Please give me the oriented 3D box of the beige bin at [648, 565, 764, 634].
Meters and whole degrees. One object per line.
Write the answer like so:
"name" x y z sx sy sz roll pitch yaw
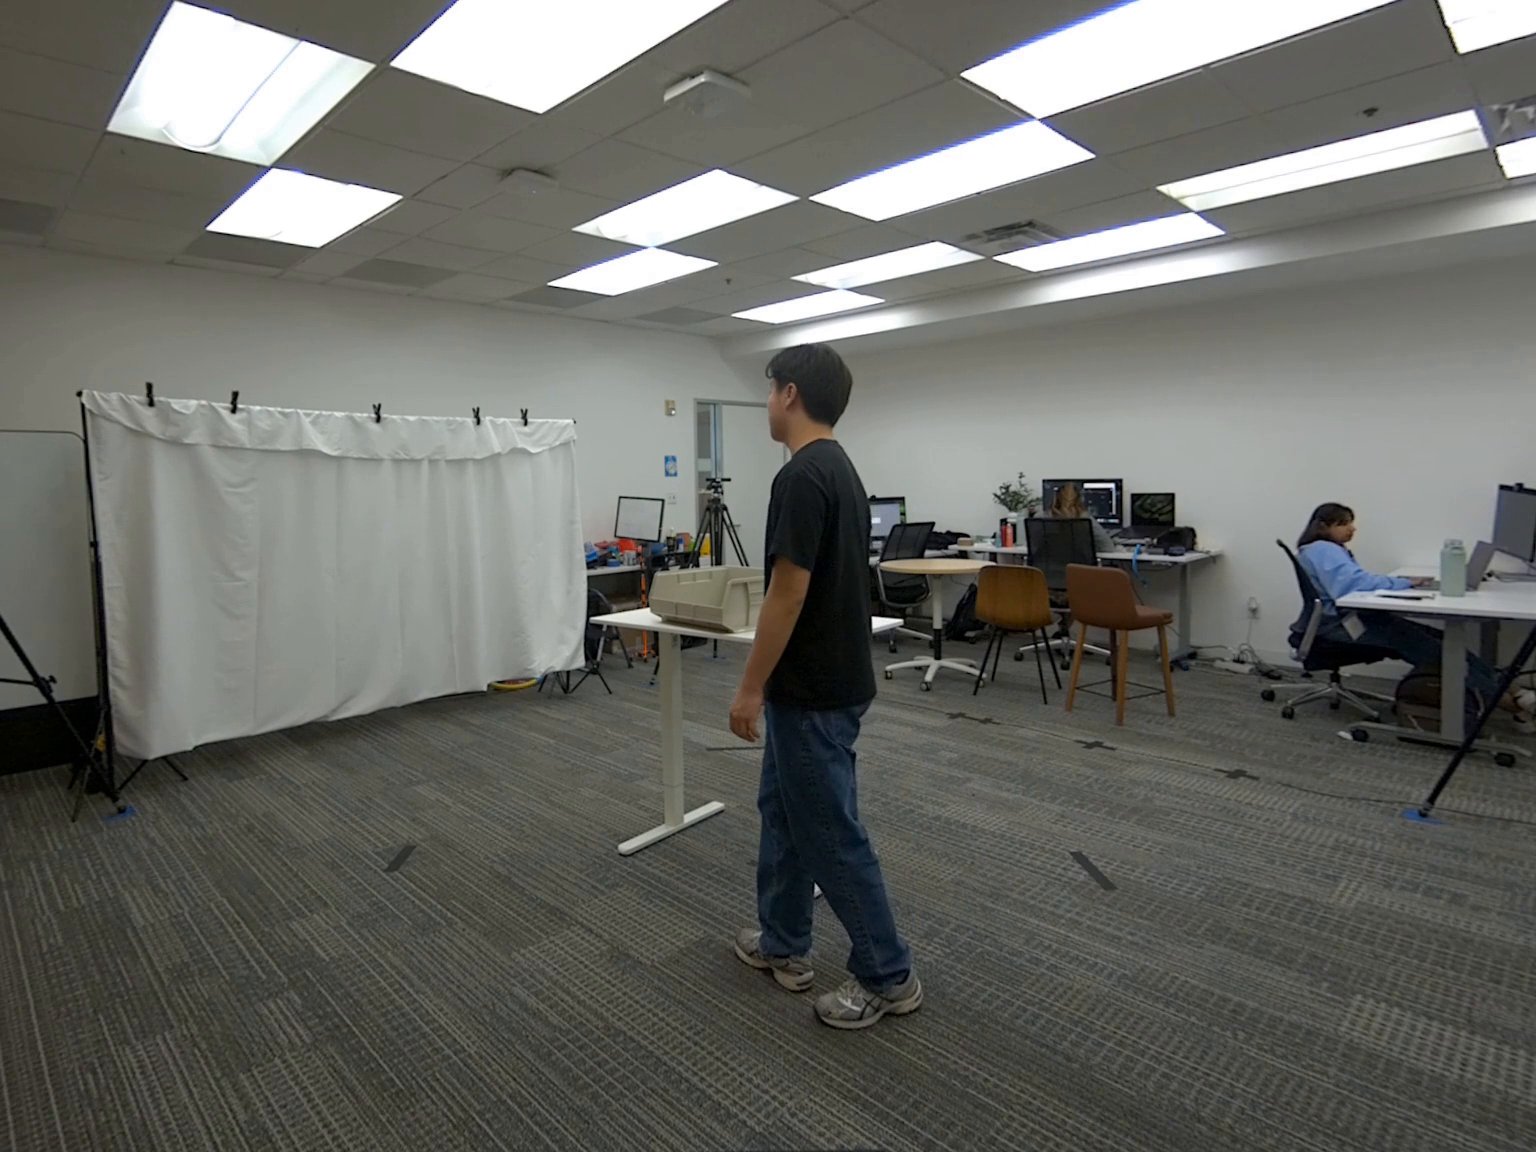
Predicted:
"beige bin" -0.150 0.078 3.040 0.367 0.188 0.435 -4 6 -41
